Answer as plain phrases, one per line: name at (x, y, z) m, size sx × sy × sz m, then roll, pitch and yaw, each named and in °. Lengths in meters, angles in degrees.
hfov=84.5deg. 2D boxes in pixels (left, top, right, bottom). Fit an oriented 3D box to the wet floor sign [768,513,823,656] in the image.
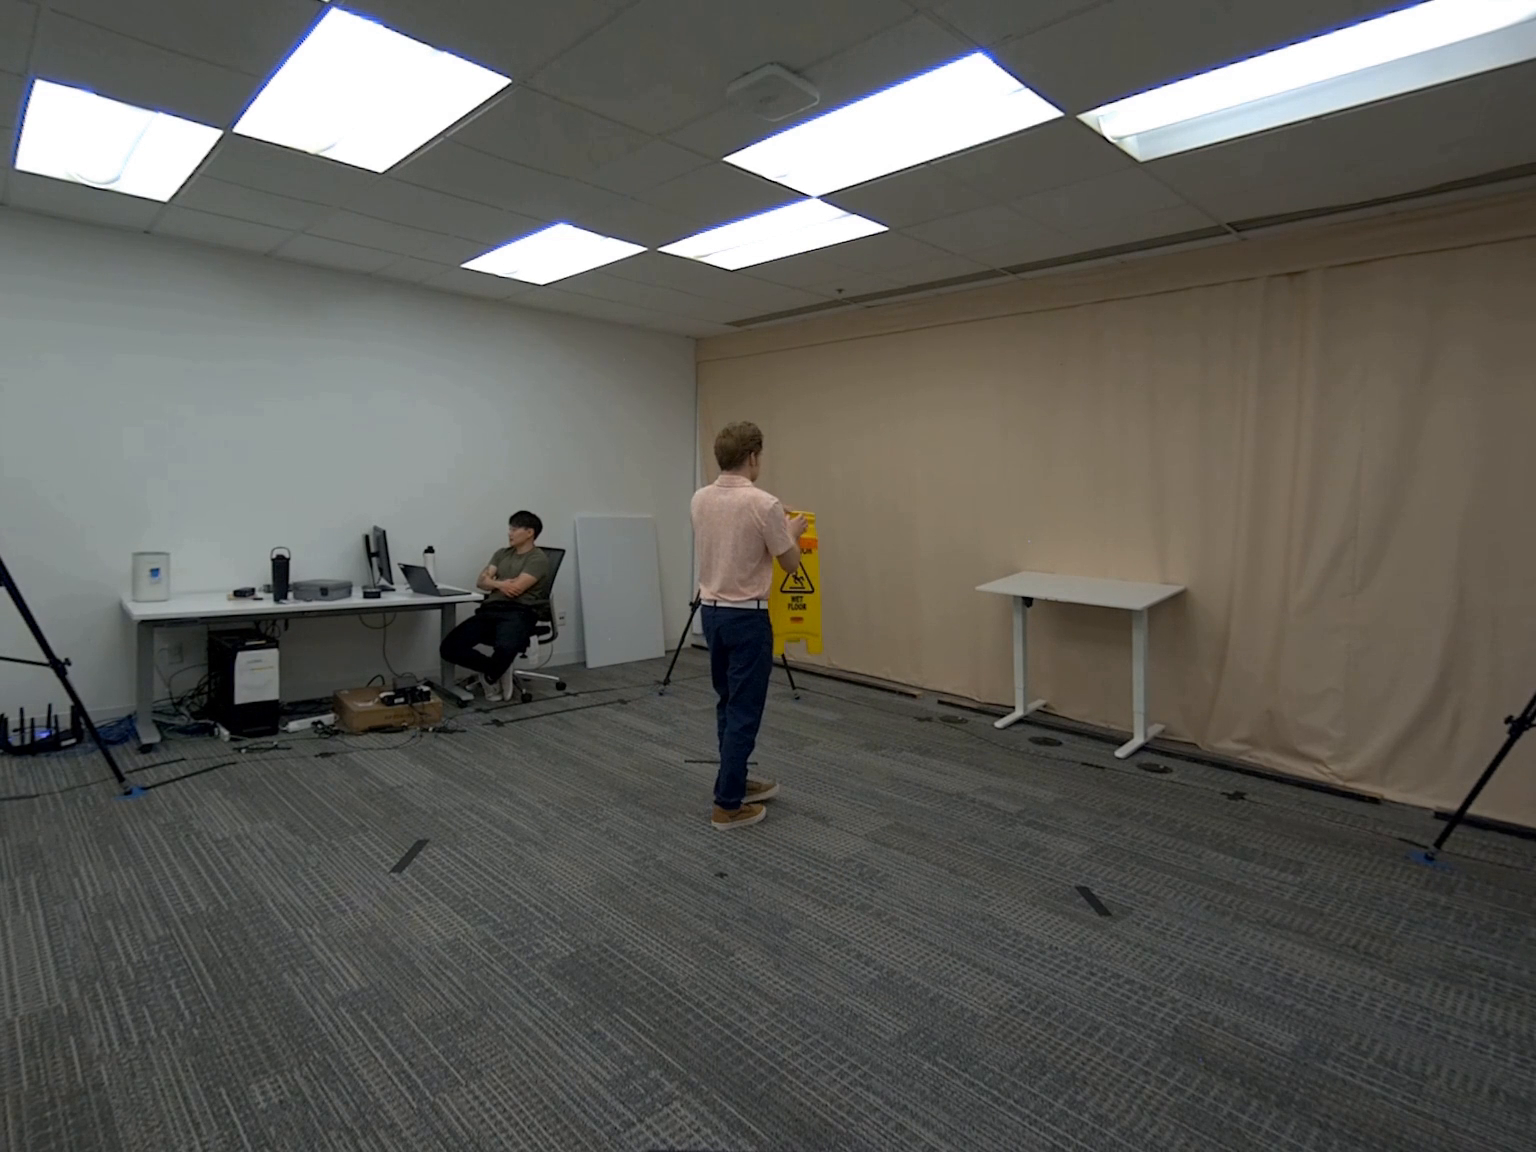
wet floor sign at (0.100, 0.022, 3.964) m, size 0.277 × 0.643 × 0.296 m, roll 1°, pitch 8°, yaw -25°
